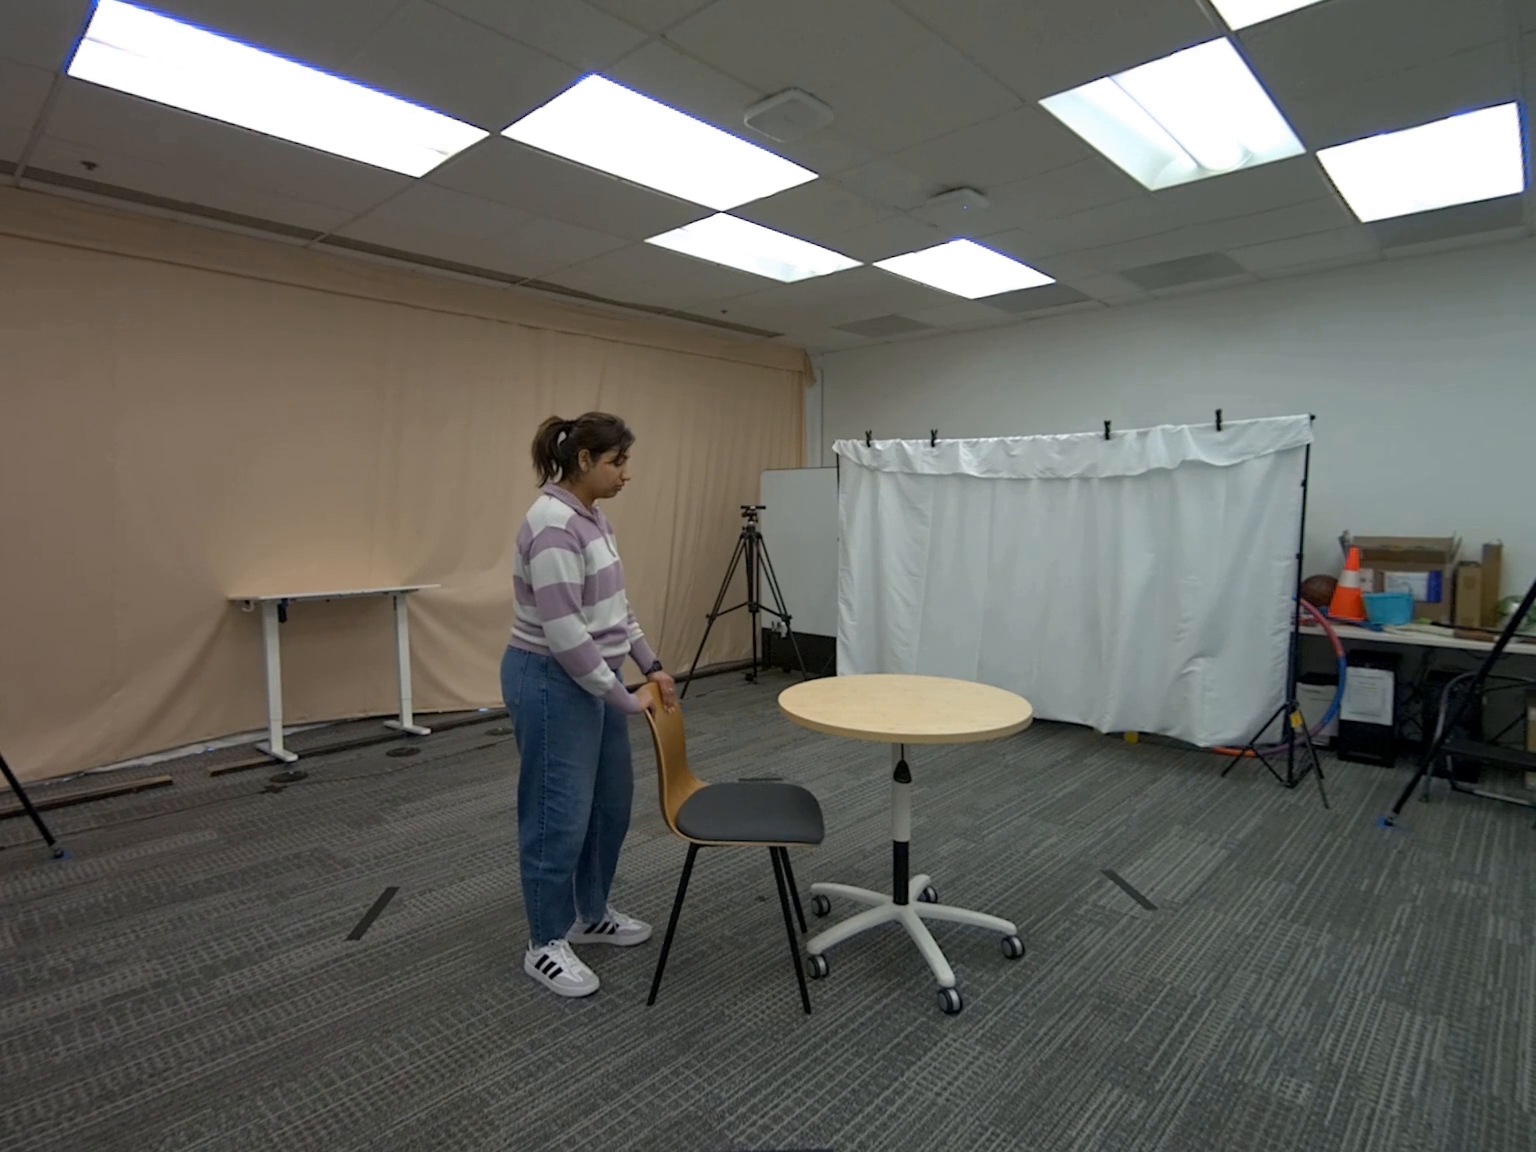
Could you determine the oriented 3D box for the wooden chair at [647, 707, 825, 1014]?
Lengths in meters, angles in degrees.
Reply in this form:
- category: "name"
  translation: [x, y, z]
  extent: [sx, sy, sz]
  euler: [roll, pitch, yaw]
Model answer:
- category: "wooden chair"
  translation: [-0.094, 0.756, 2.516]
  extent: [0.526, 0.876, 0.476]
  euler: [-4, 2, 4]
